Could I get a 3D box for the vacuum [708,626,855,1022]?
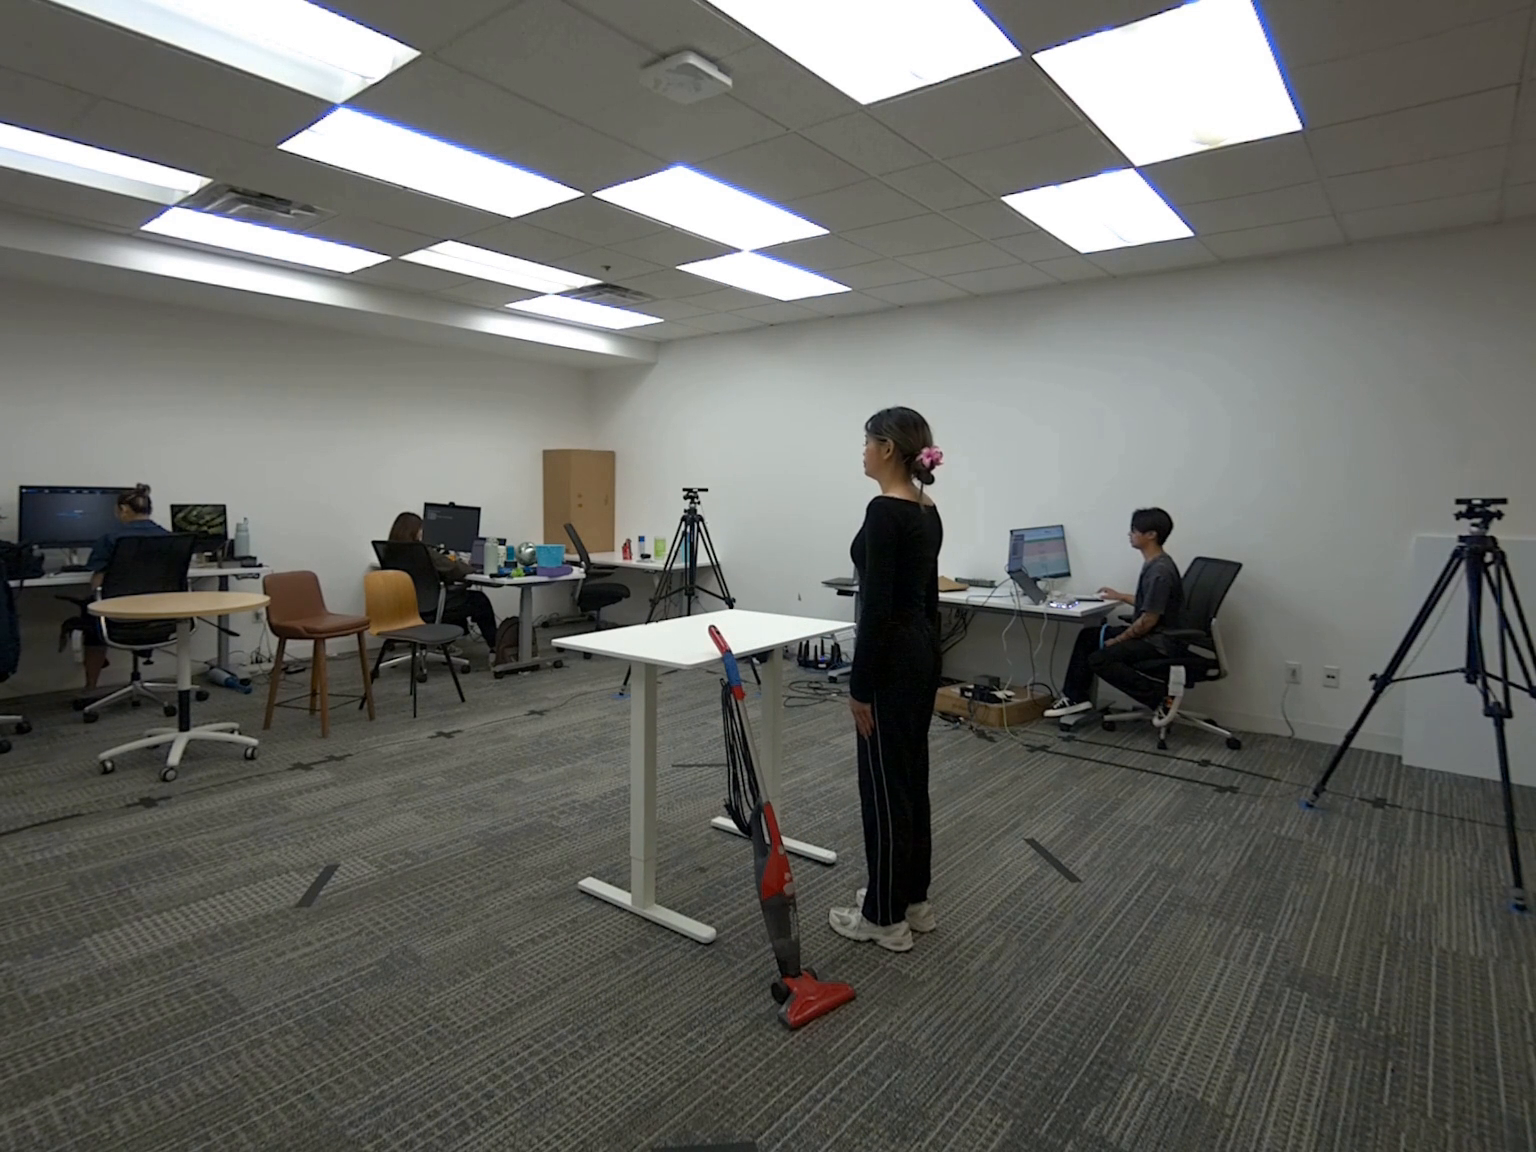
[{"bbox_3d":[-0.049,0.660,2.456,0.245,1.069,0.145,-4,-21,-42],"label":"vacuum"}]
